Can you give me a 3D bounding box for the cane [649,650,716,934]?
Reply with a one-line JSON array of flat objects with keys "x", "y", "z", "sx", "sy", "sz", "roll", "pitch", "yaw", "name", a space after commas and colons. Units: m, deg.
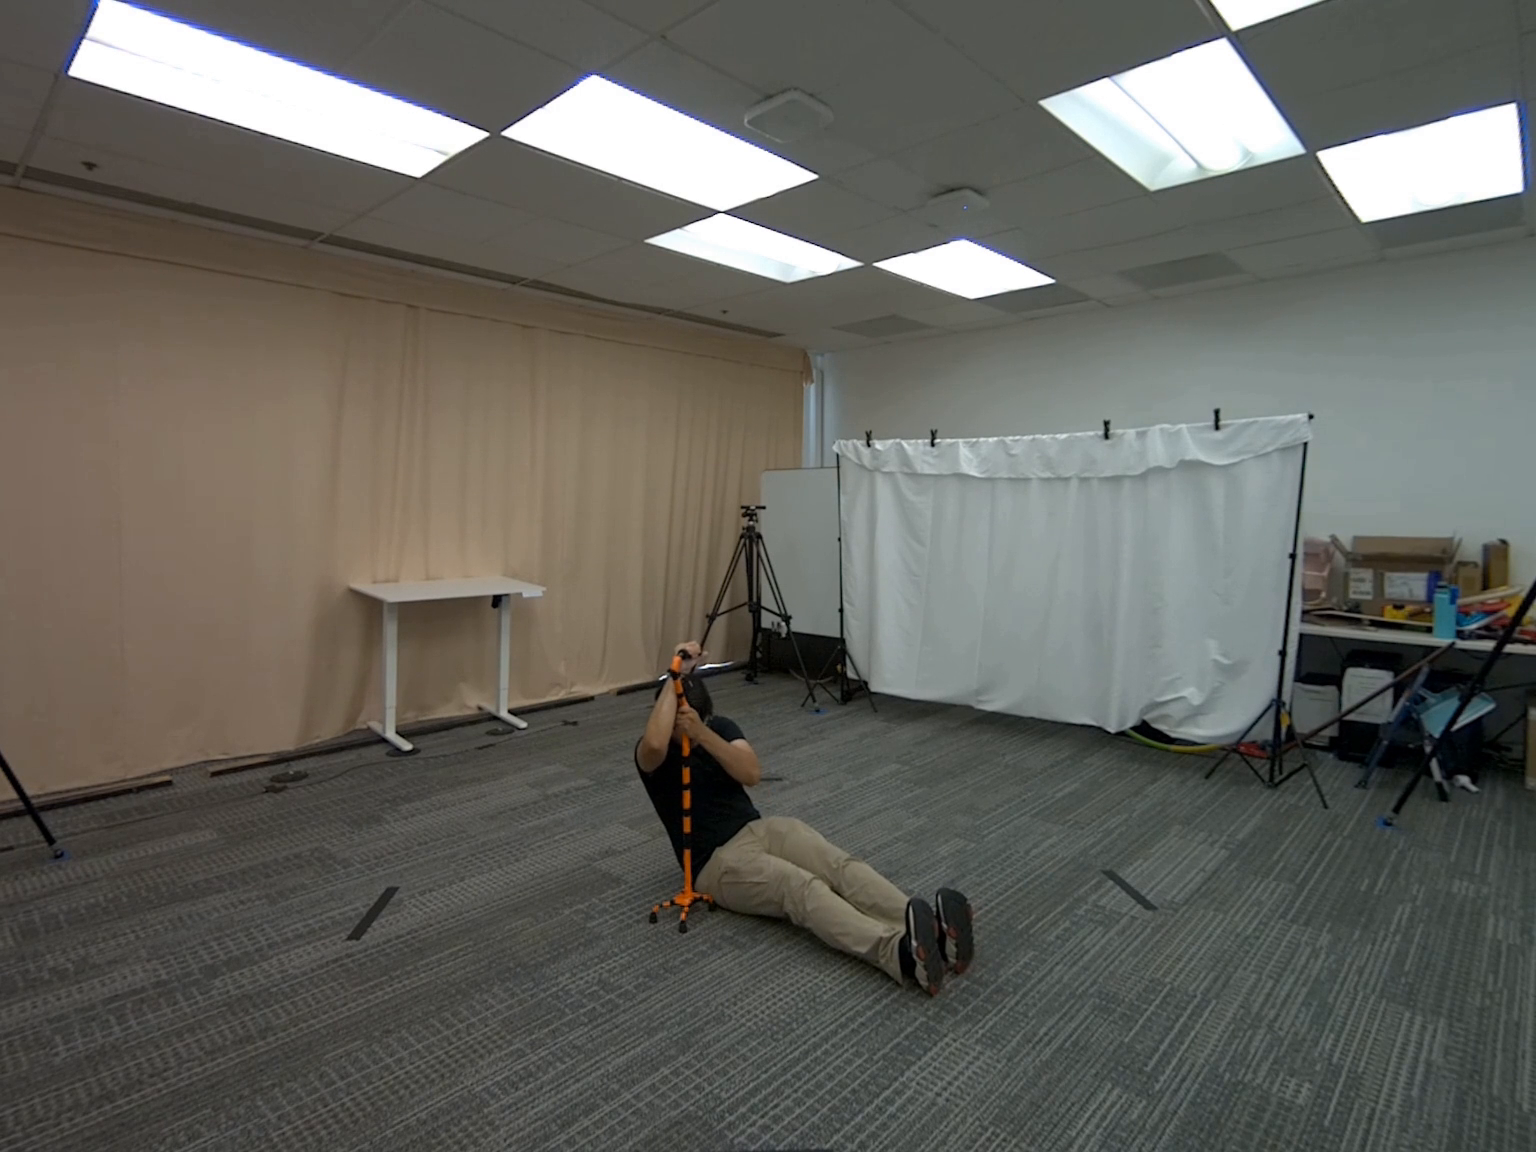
[{"x": -0.296, "y": 0.704, "z": 2.848, "sx": 0.156, "sy": 0.907, "sz": 0.201, "roll": 0, "pitch": 2, "yaw": 30, "name": "cane"}]
